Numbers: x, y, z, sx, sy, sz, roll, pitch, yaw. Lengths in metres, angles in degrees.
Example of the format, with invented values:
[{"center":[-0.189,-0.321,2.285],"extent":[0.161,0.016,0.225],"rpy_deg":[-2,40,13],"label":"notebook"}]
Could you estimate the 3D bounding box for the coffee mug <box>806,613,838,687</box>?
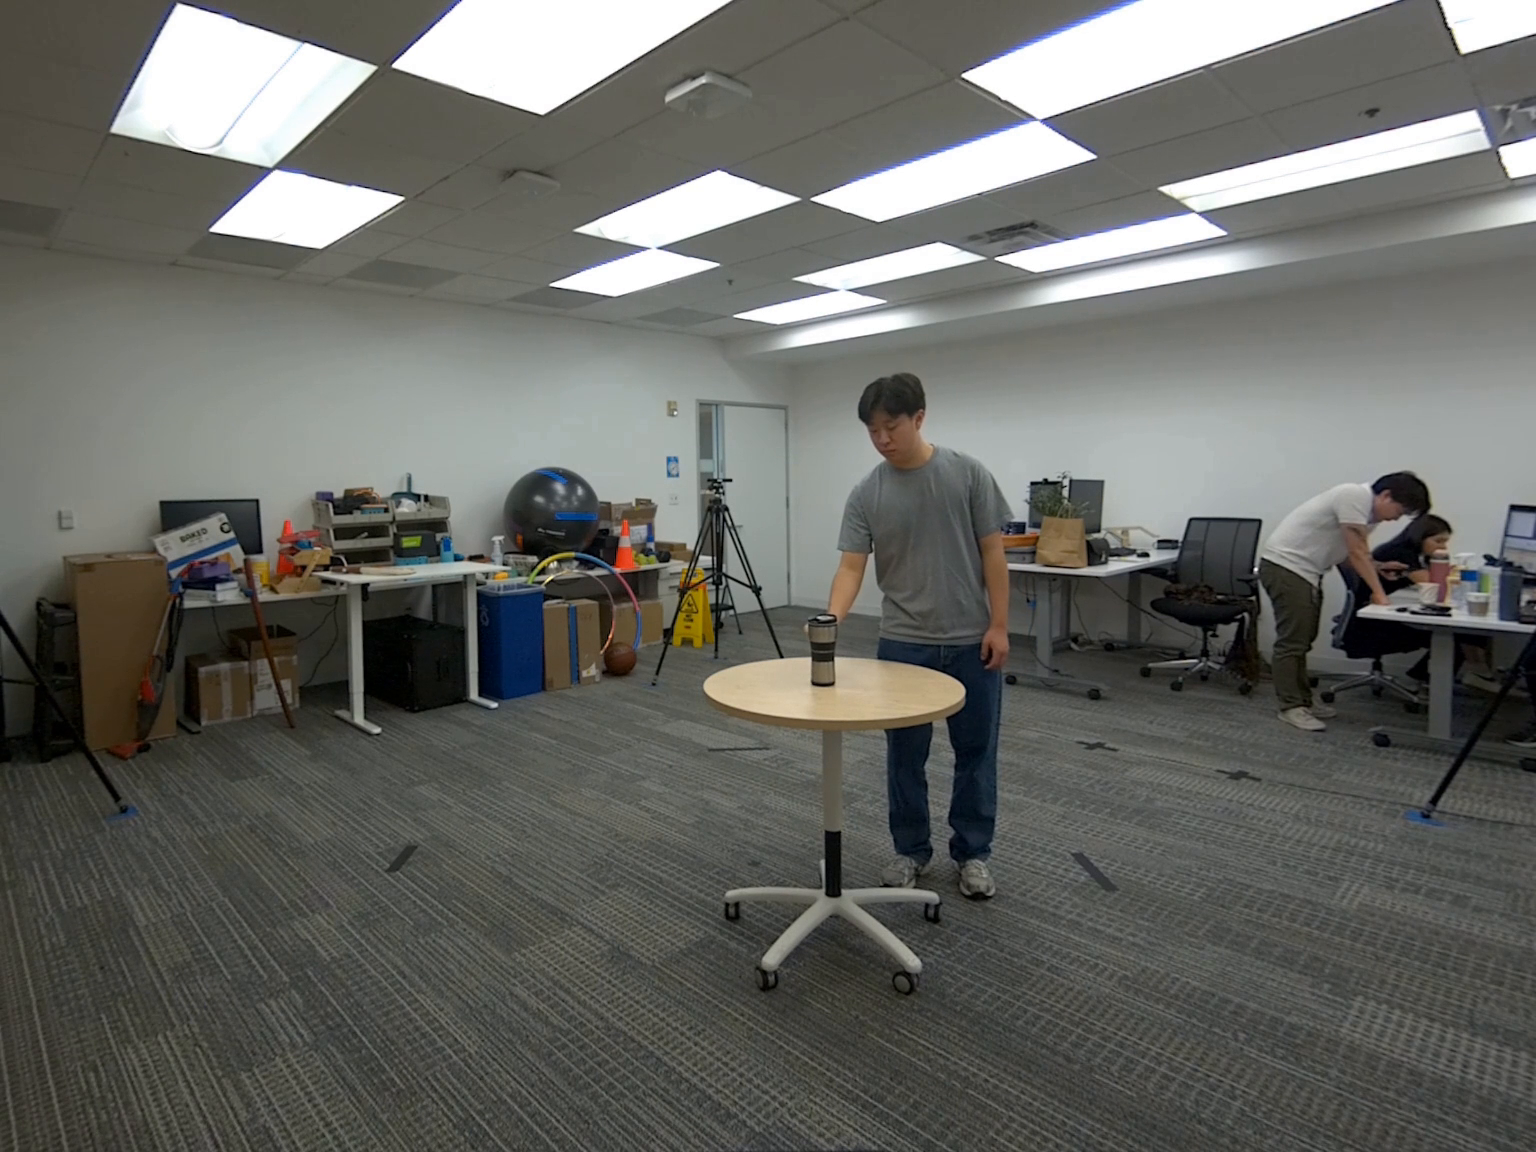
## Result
[{"center":[0.183,0.218,2.544],"extent":[0.090,0.201,0.119],"rpy_deg":[0,9,38],"label":"coffee mug"}]
